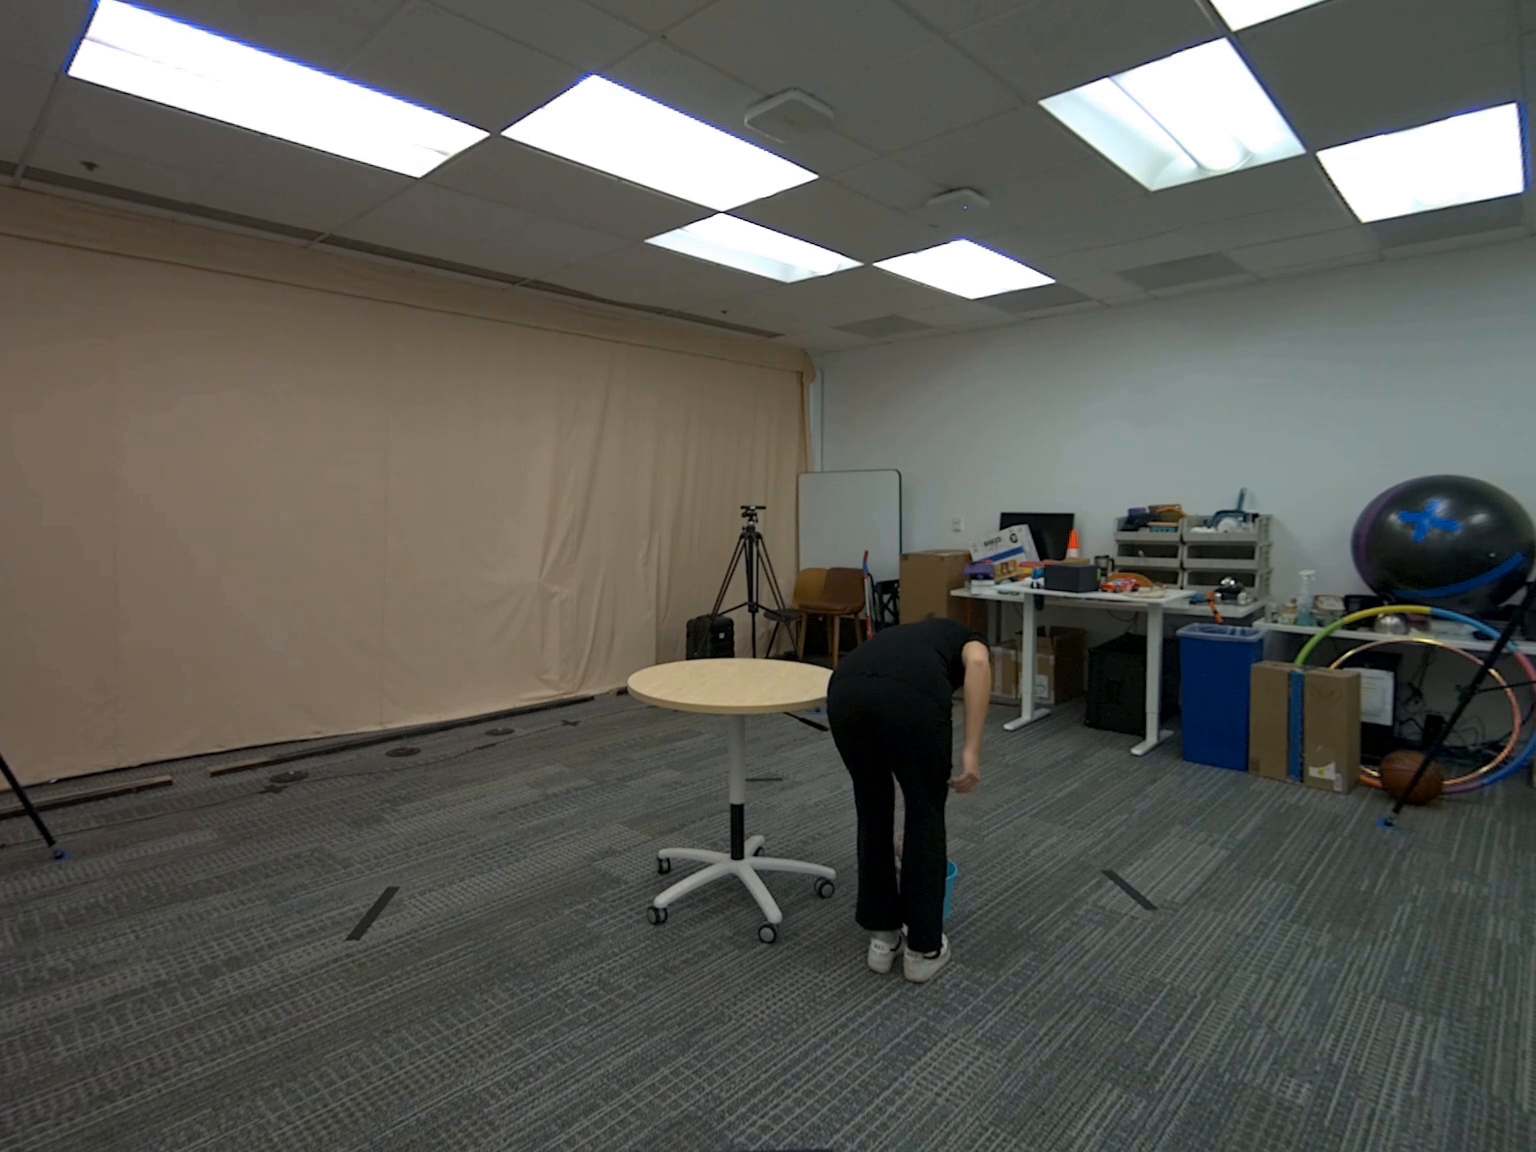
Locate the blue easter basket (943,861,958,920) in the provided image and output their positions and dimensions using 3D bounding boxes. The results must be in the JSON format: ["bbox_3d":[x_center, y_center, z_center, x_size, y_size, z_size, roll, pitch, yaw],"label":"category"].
[{"bbox_3d":[0.544,1.070,2.885,0.243,0.155,0.244,-1,4,-2],"label":"blue easter basket"}]
